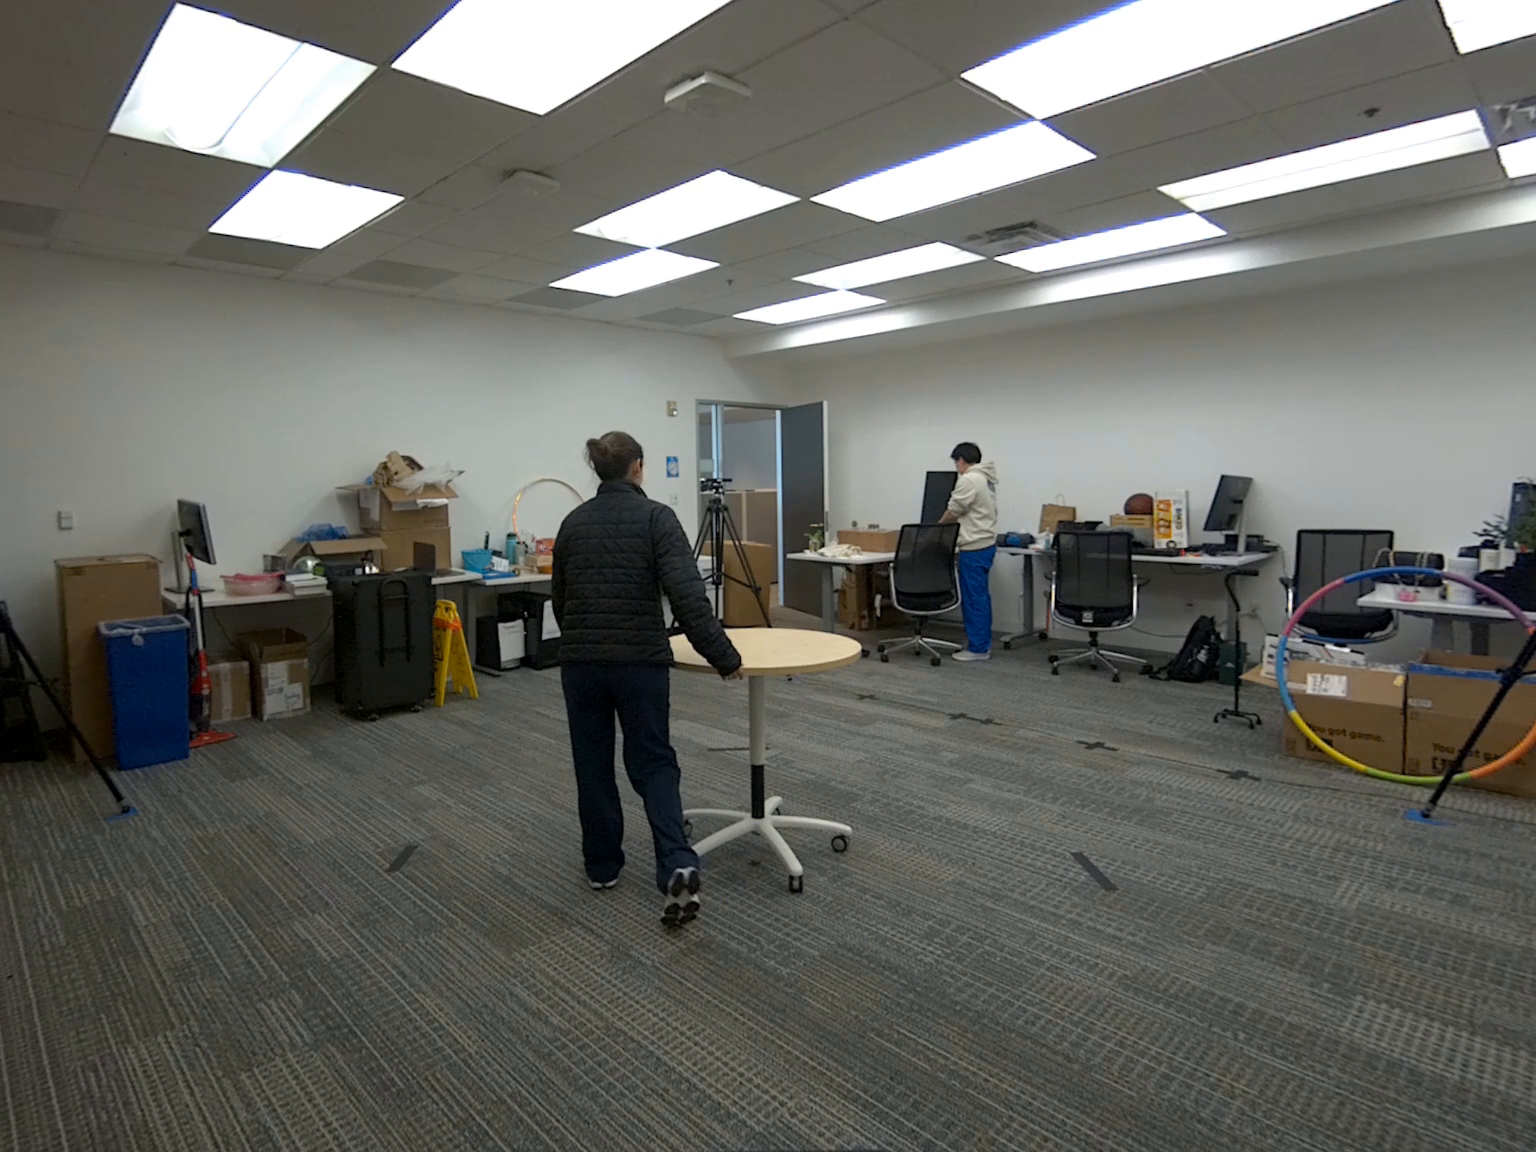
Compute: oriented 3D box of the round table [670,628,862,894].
[{"bbox_3d":[-0.034,0.641,3.189,0.784,0.783,0.789,-1,5,-2],"label":"round table"}]
